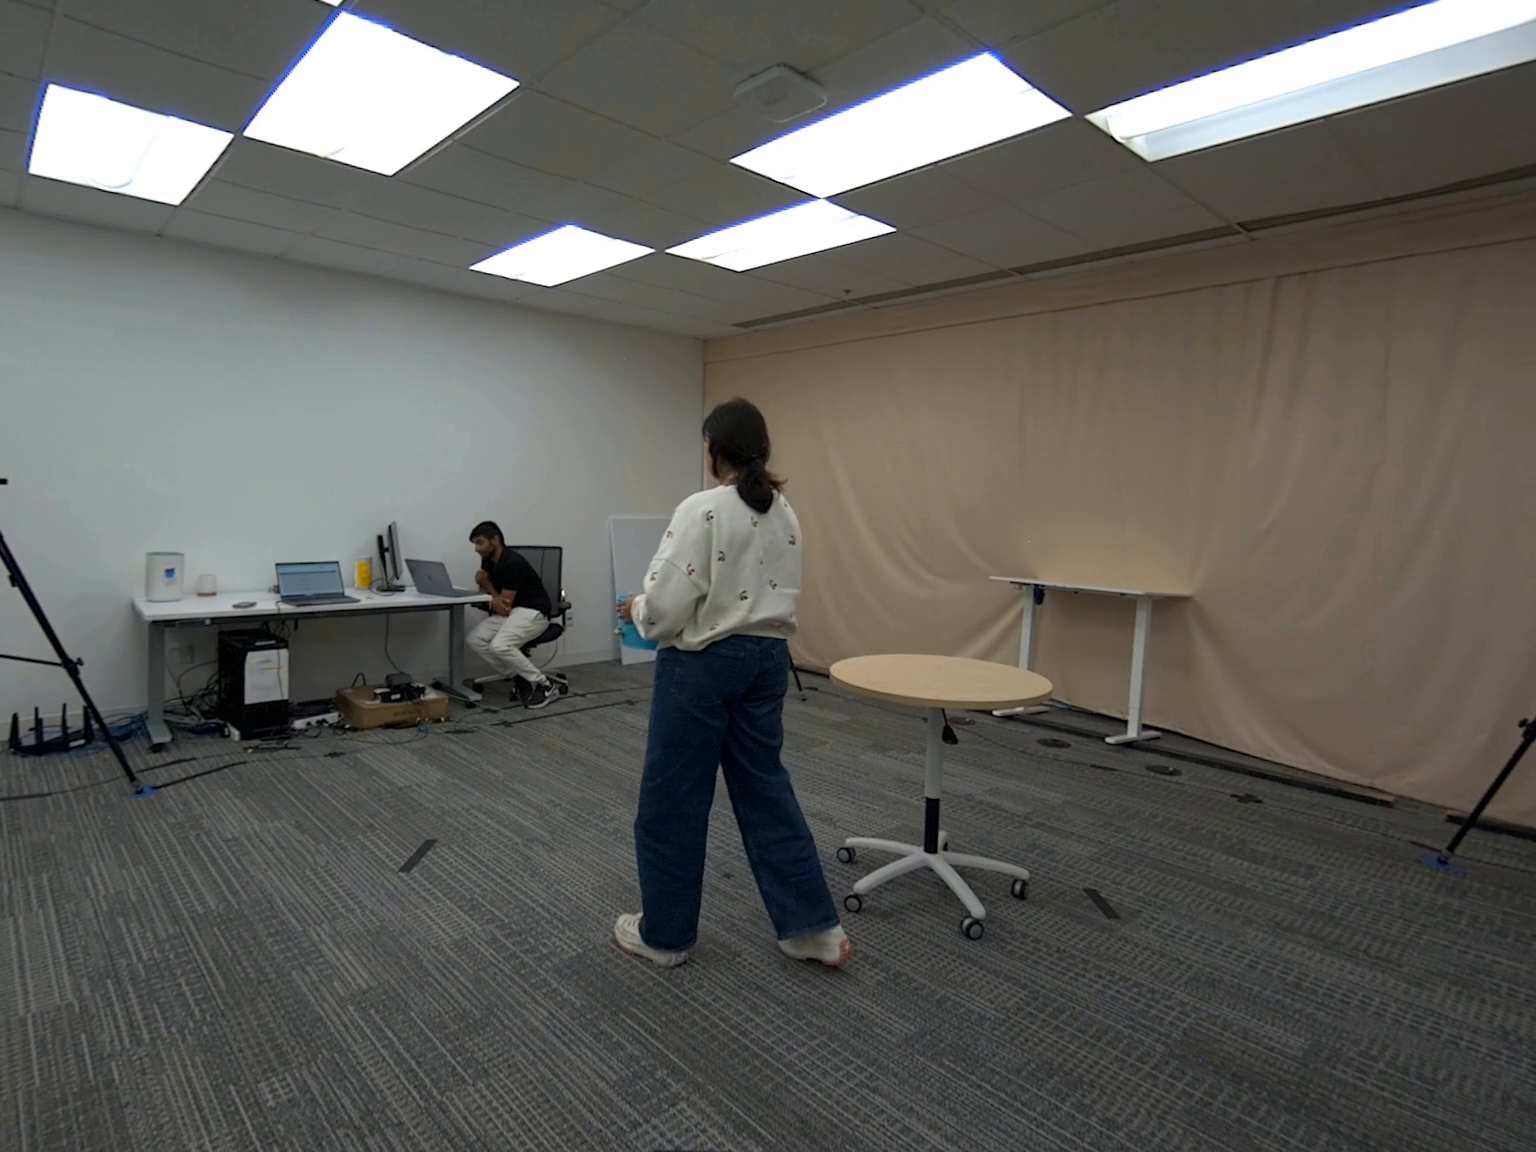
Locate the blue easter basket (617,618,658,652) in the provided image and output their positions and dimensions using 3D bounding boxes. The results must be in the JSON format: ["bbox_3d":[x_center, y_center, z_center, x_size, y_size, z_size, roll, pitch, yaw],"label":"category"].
[{"bbox_3d":[-0.382,0.157,2.720,0.243,0.155,0.244,6,3,-2],"label":"blue easter basket"}]
